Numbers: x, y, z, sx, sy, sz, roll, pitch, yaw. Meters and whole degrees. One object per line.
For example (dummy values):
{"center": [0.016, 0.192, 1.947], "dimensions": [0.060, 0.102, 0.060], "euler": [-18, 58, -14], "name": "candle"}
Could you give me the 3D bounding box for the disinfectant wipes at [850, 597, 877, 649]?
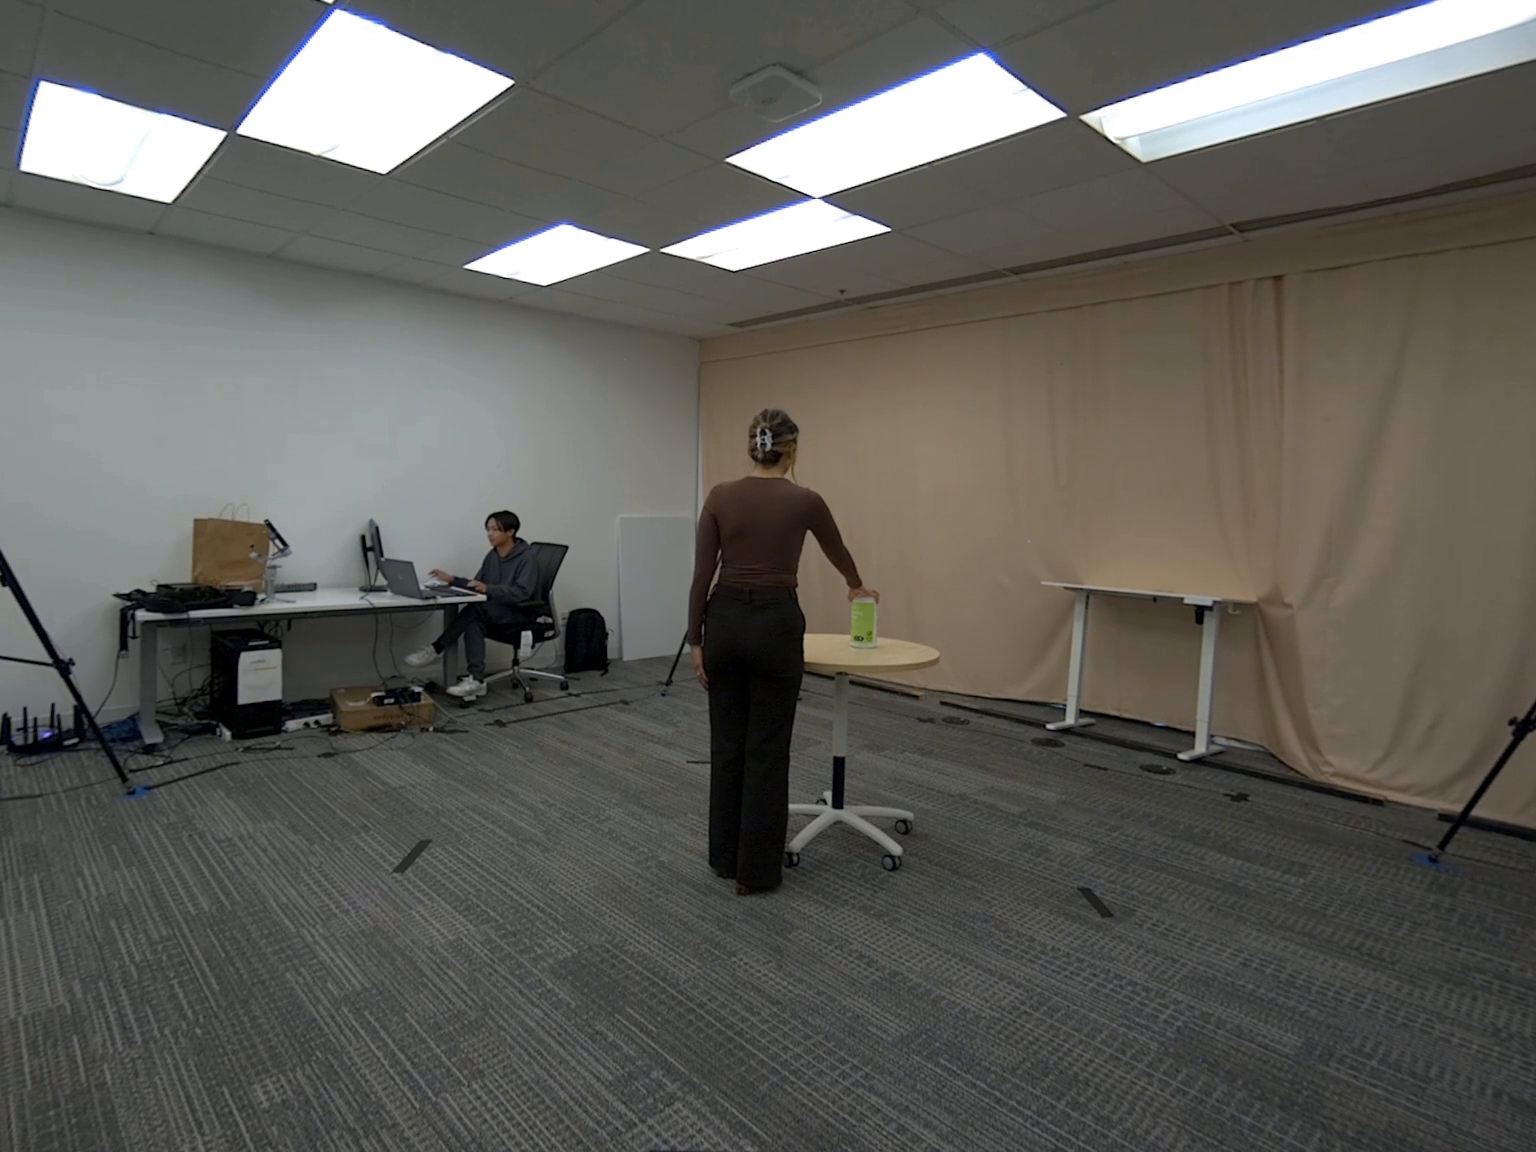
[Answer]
{"center": [0.390, 0.184, 3.471], "dimensions": [0.118, 0.216, 0.118], "euler": [1, 6, -1], "name": "disinfectant wipes"}
